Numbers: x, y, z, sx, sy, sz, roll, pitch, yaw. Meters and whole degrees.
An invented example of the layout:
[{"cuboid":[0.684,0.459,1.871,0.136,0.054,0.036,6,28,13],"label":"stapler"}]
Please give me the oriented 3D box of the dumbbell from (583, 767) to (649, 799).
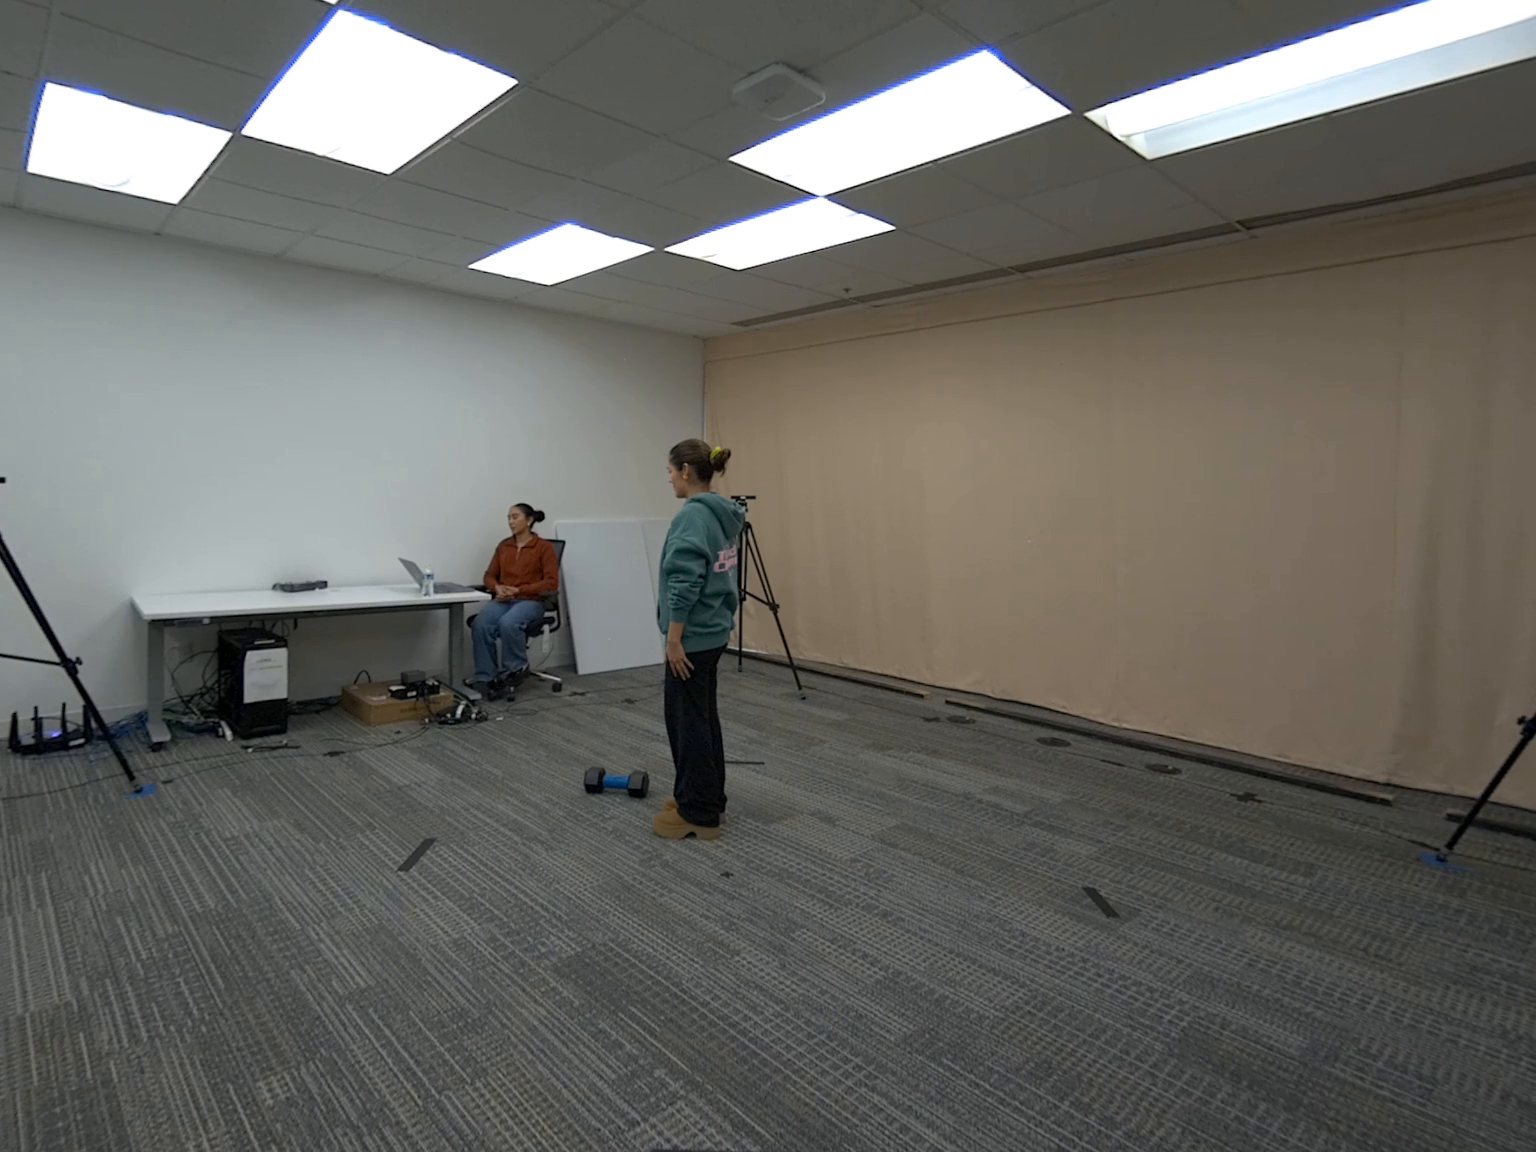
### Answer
[{"cuboid":[-0.718,0.962,3.931,0.296,0.125,0.106,2,-24,11],"label":"dumbbell"}]
